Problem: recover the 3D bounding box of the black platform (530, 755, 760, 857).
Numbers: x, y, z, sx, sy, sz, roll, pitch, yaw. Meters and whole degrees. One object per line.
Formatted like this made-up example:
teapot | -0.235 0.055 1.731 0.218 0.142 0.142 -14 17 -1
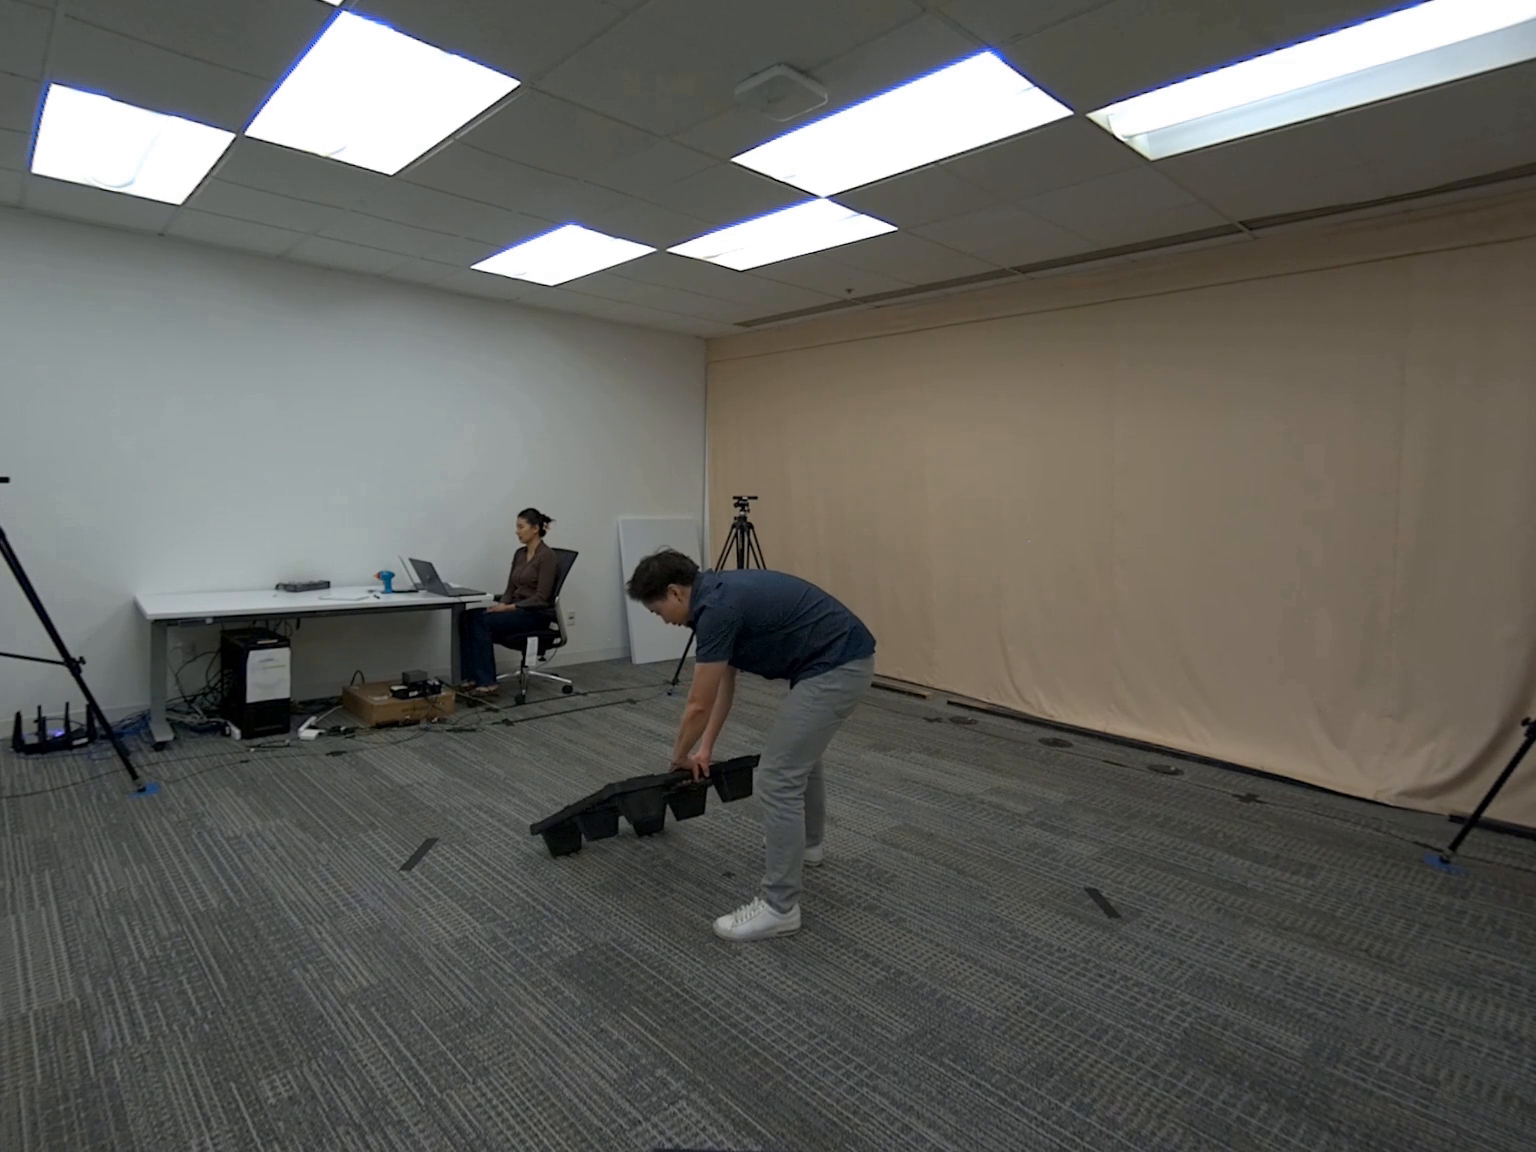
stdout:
black platform | -0.462 0.867 3.114 0.592 0.146 0.809 -3 -22 -36
